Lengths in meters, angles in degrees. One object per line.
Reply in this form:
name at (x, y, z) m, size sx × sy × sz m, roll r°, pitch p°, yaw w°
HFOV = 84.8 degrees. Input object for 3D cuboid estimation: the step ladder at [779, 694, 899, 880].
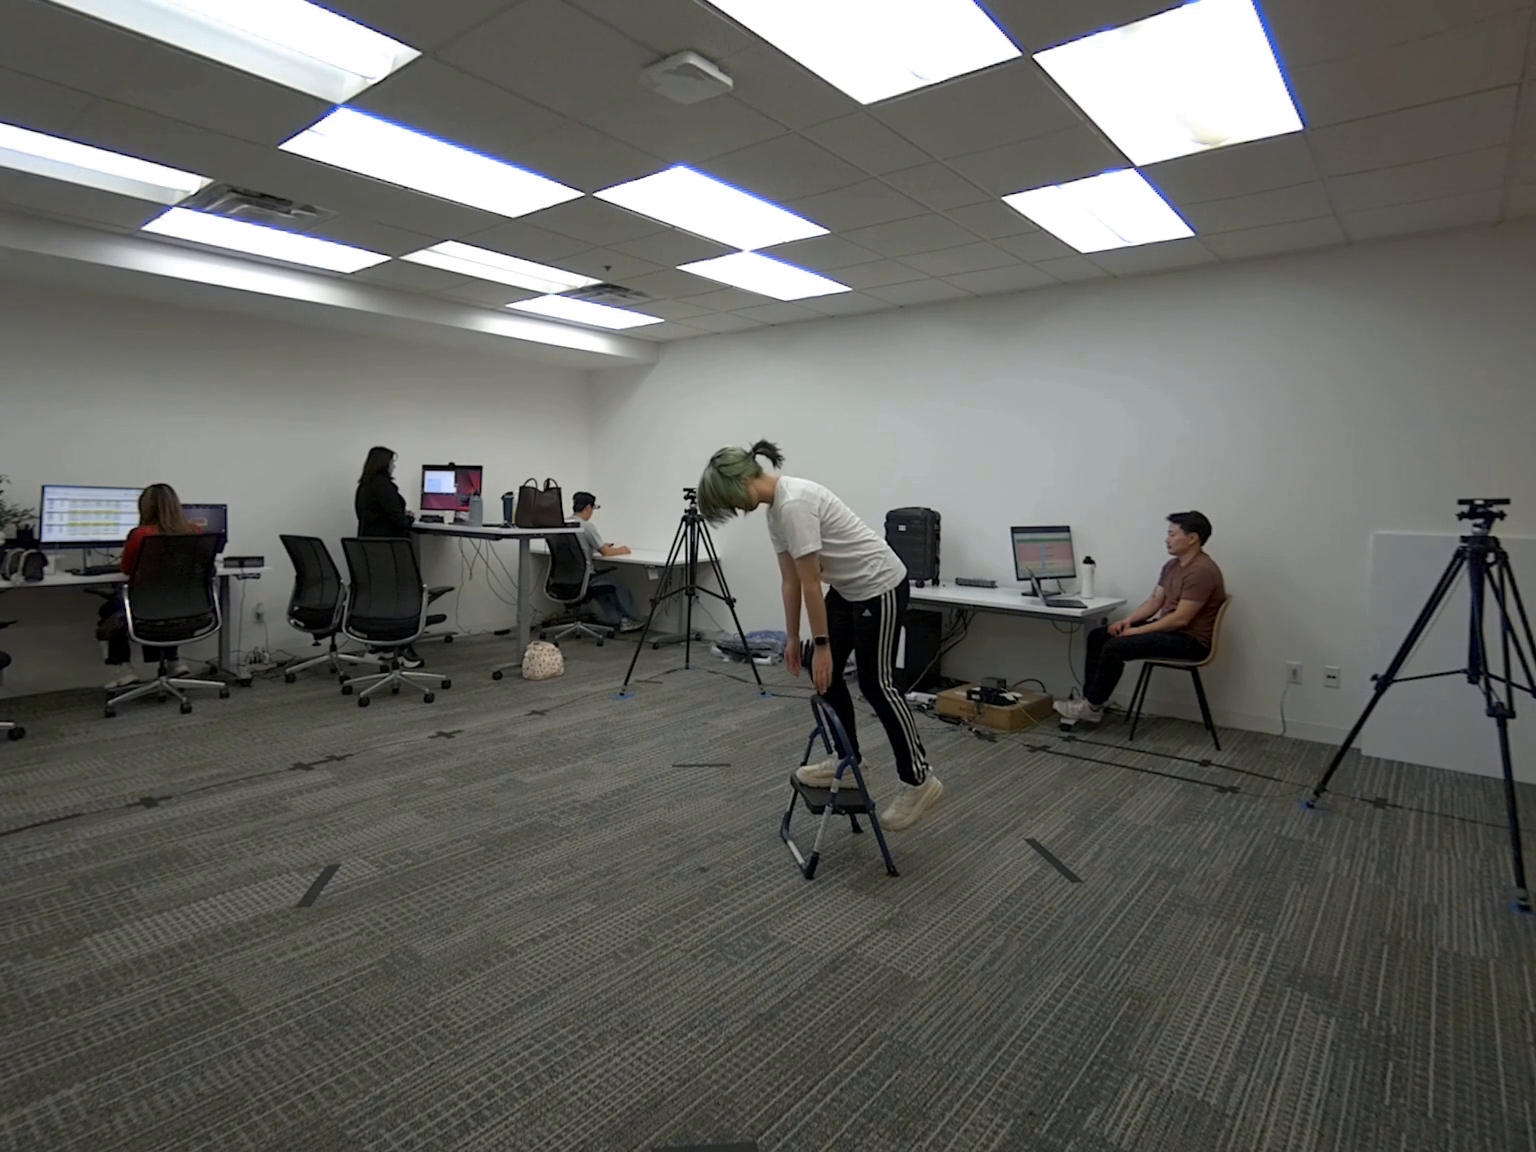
step ladder at (0.259, 0.769, 3.253) m, size 0.345 × 0.604 × 0.437 m, roll 1°, pitch 4°, yaw -12°
